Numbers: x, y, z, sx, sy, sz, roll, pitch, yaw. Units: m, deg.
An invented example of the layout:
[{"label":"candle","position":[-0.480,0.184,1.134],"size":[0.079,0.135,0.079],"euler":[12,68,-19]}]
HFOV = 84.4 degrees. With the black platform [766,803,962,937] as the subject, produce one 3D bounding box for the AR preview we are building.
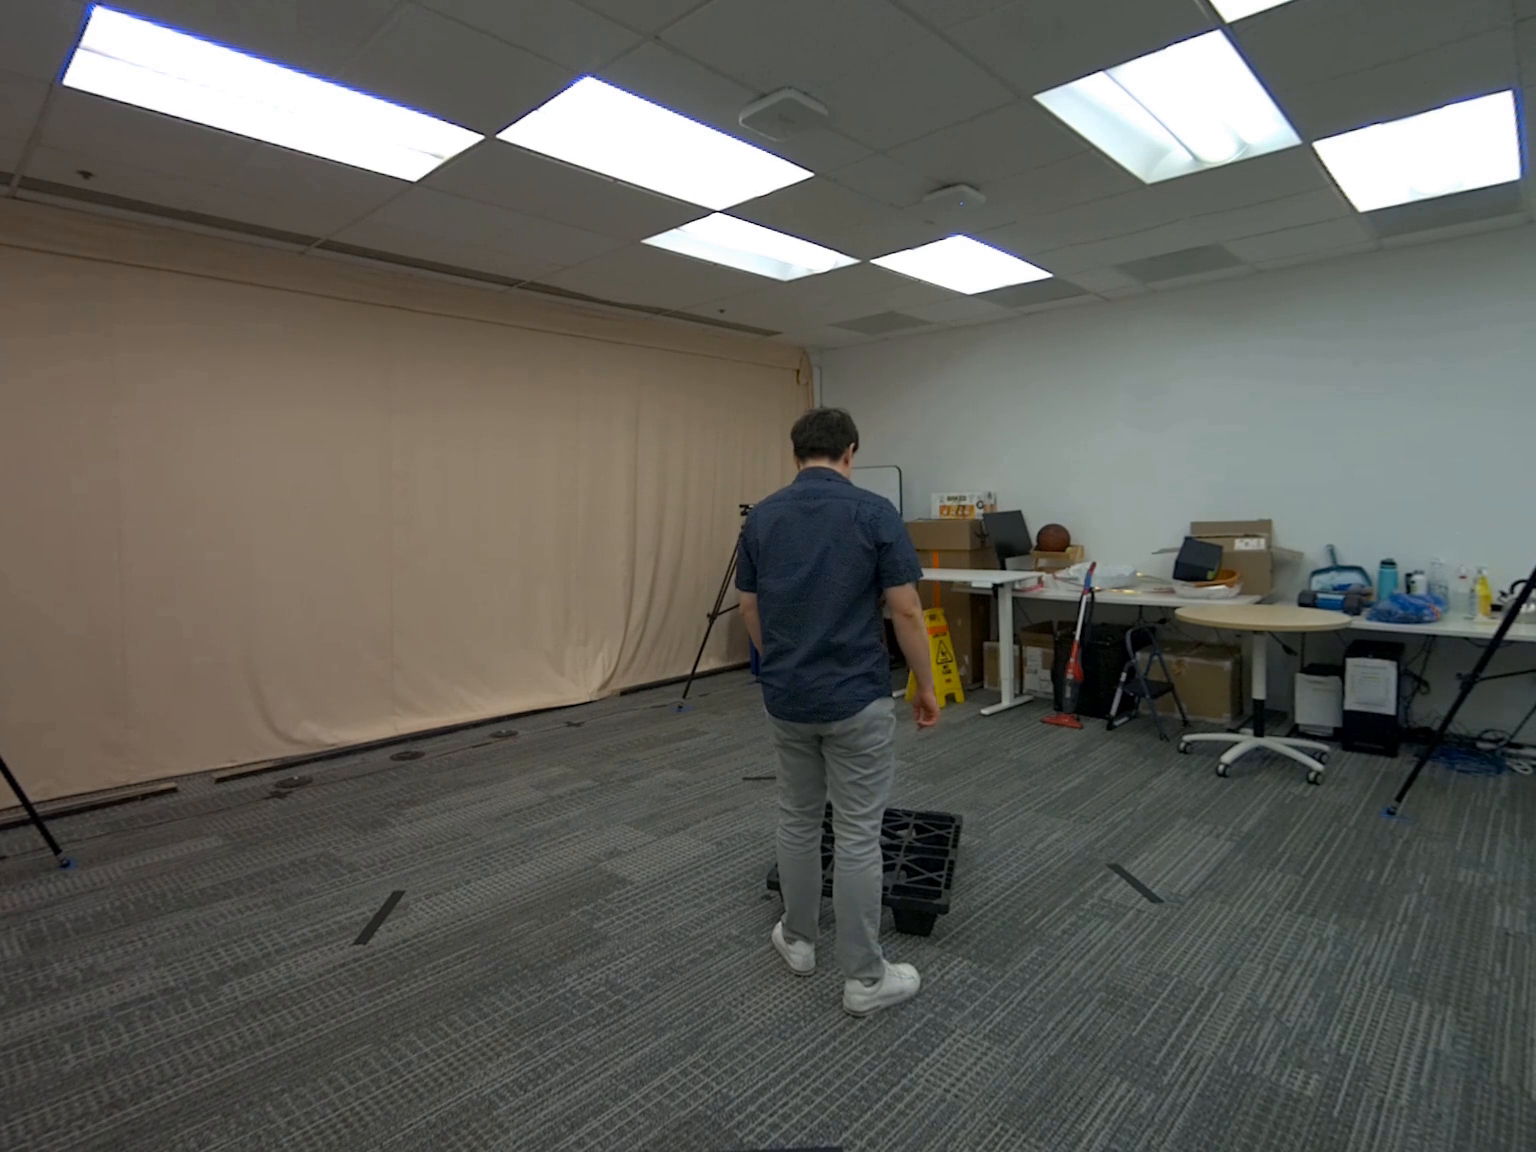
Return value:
[{"label":"black platform","position":[0.394,1.052,3.107],"size":[0.617,0.143,0.793],"euler":[2,6,17]}]
